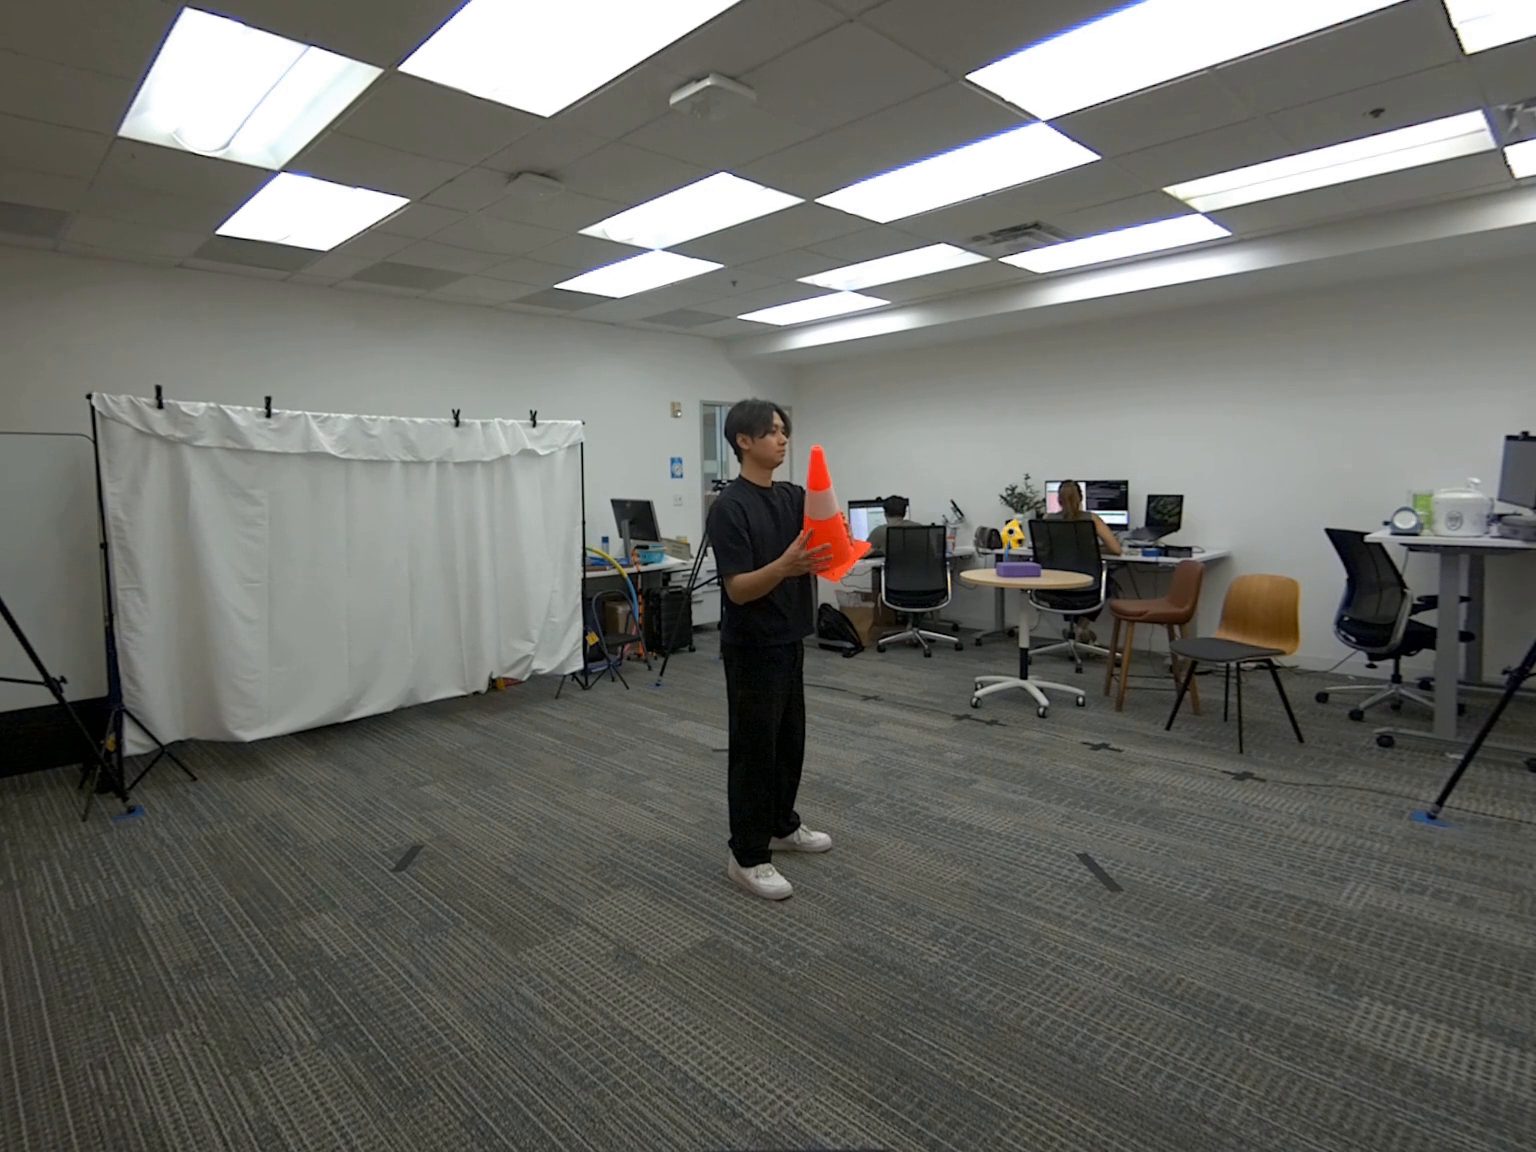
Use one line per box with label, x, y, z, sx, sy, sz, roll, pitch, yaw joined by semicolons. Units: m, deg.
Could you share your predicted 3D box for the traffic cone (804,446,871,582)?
traffic cone;0.169;-0.198;2.506;0.202;0.372;0.213;-33;43;-27
